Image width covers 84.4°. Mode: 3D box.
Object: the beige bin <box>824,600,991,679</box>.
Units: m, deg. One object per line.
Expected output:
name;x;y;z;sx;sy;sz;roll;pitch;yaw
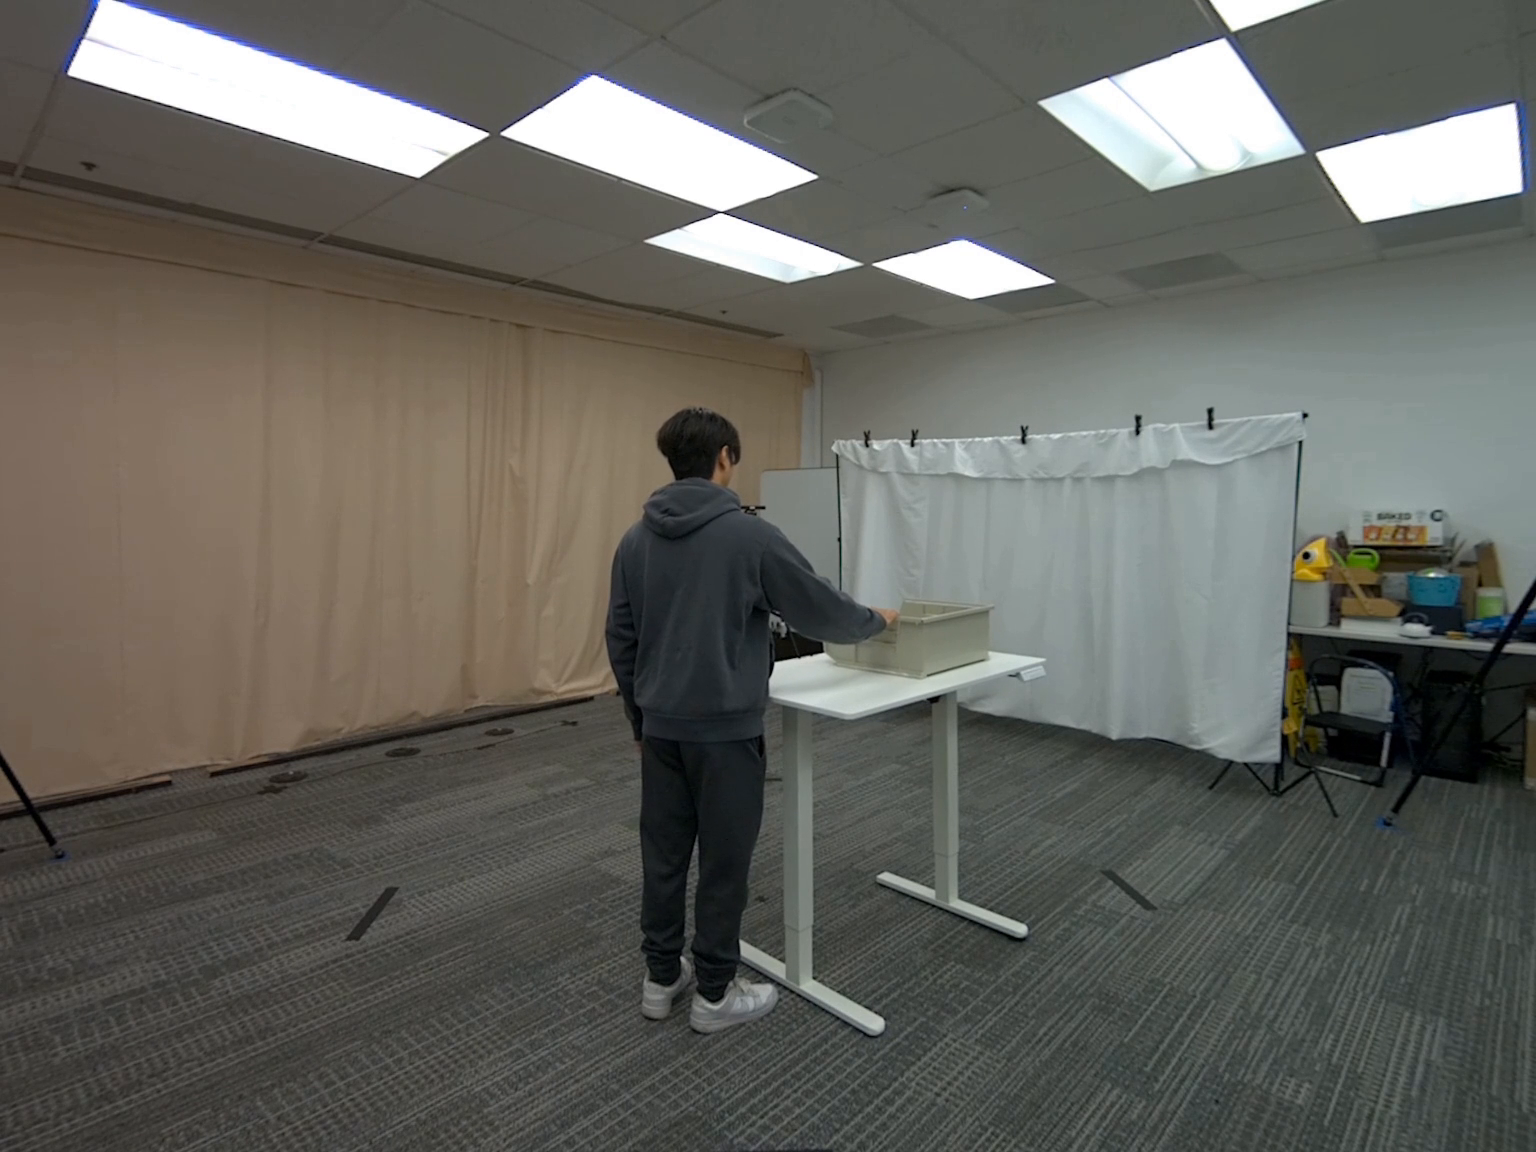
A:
beige bin;0.456;0.193;2.715;0.390;0.188;0.409;5;6;44
